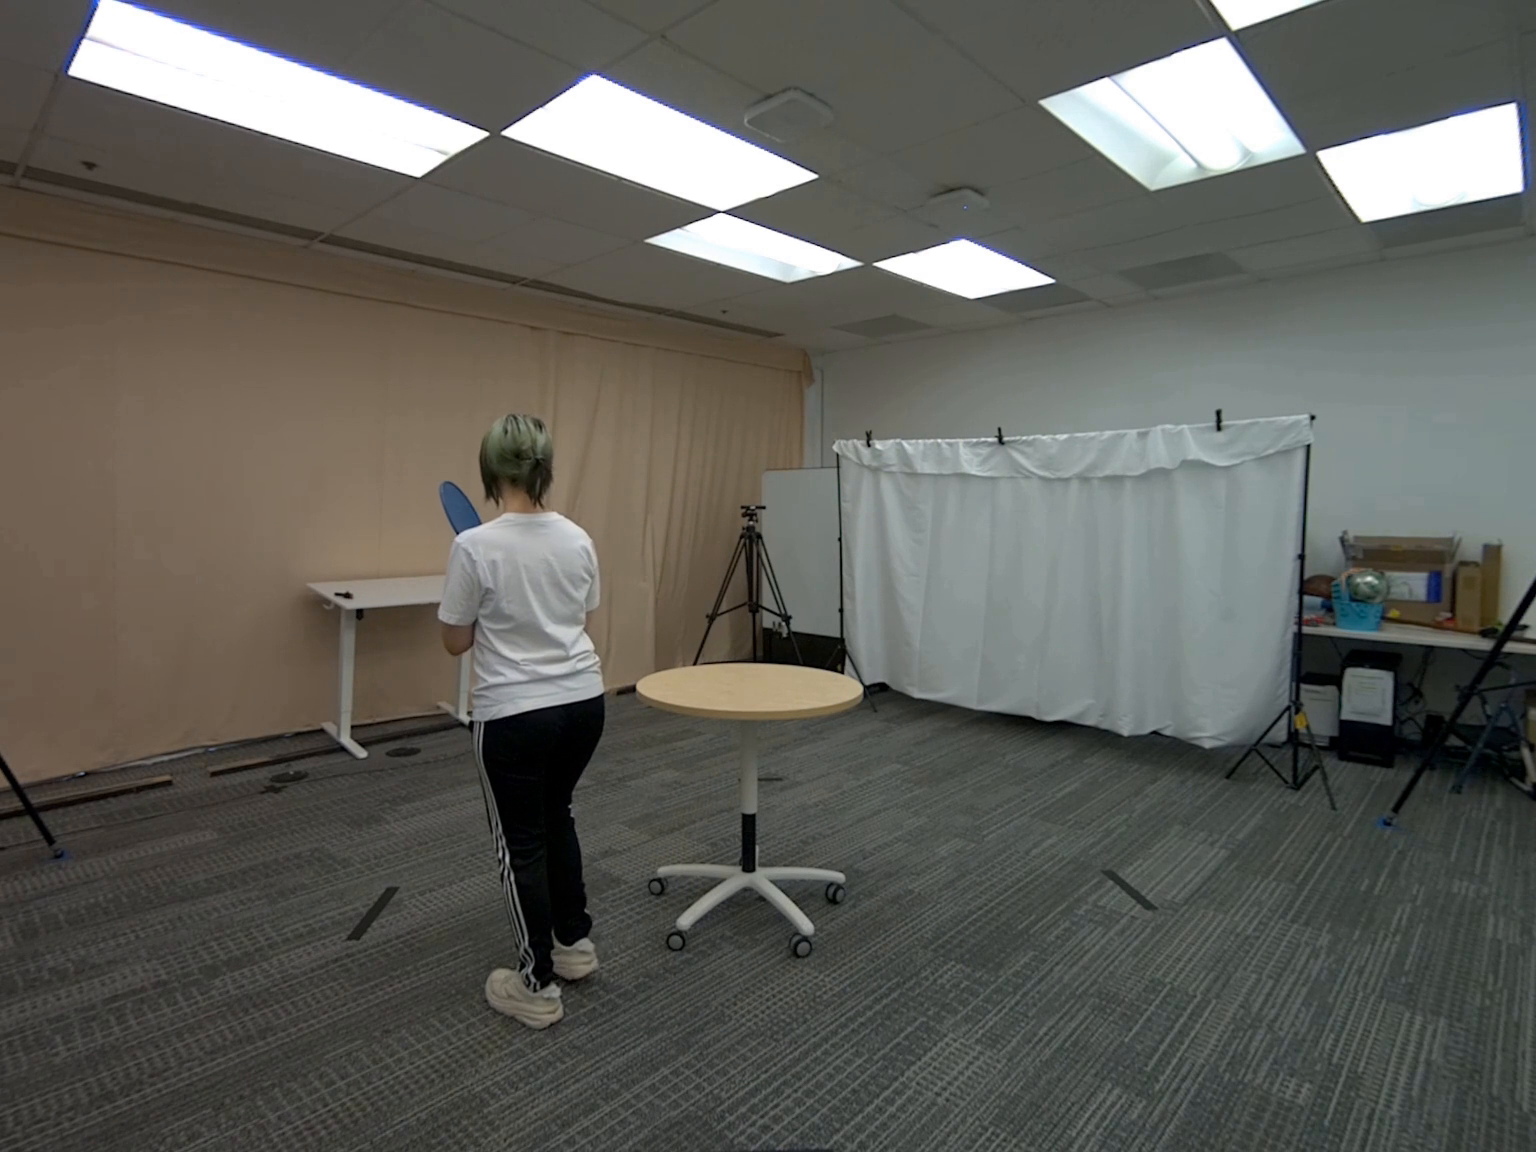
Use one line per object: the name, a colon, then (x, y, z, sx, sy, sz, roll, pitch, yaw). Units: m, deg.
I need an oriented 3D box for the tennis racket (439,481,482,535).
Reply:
tennis racket: (-0.894, -0.105, 2.549, 0.032, 0.442, 0.208, -27, -22, 5)
